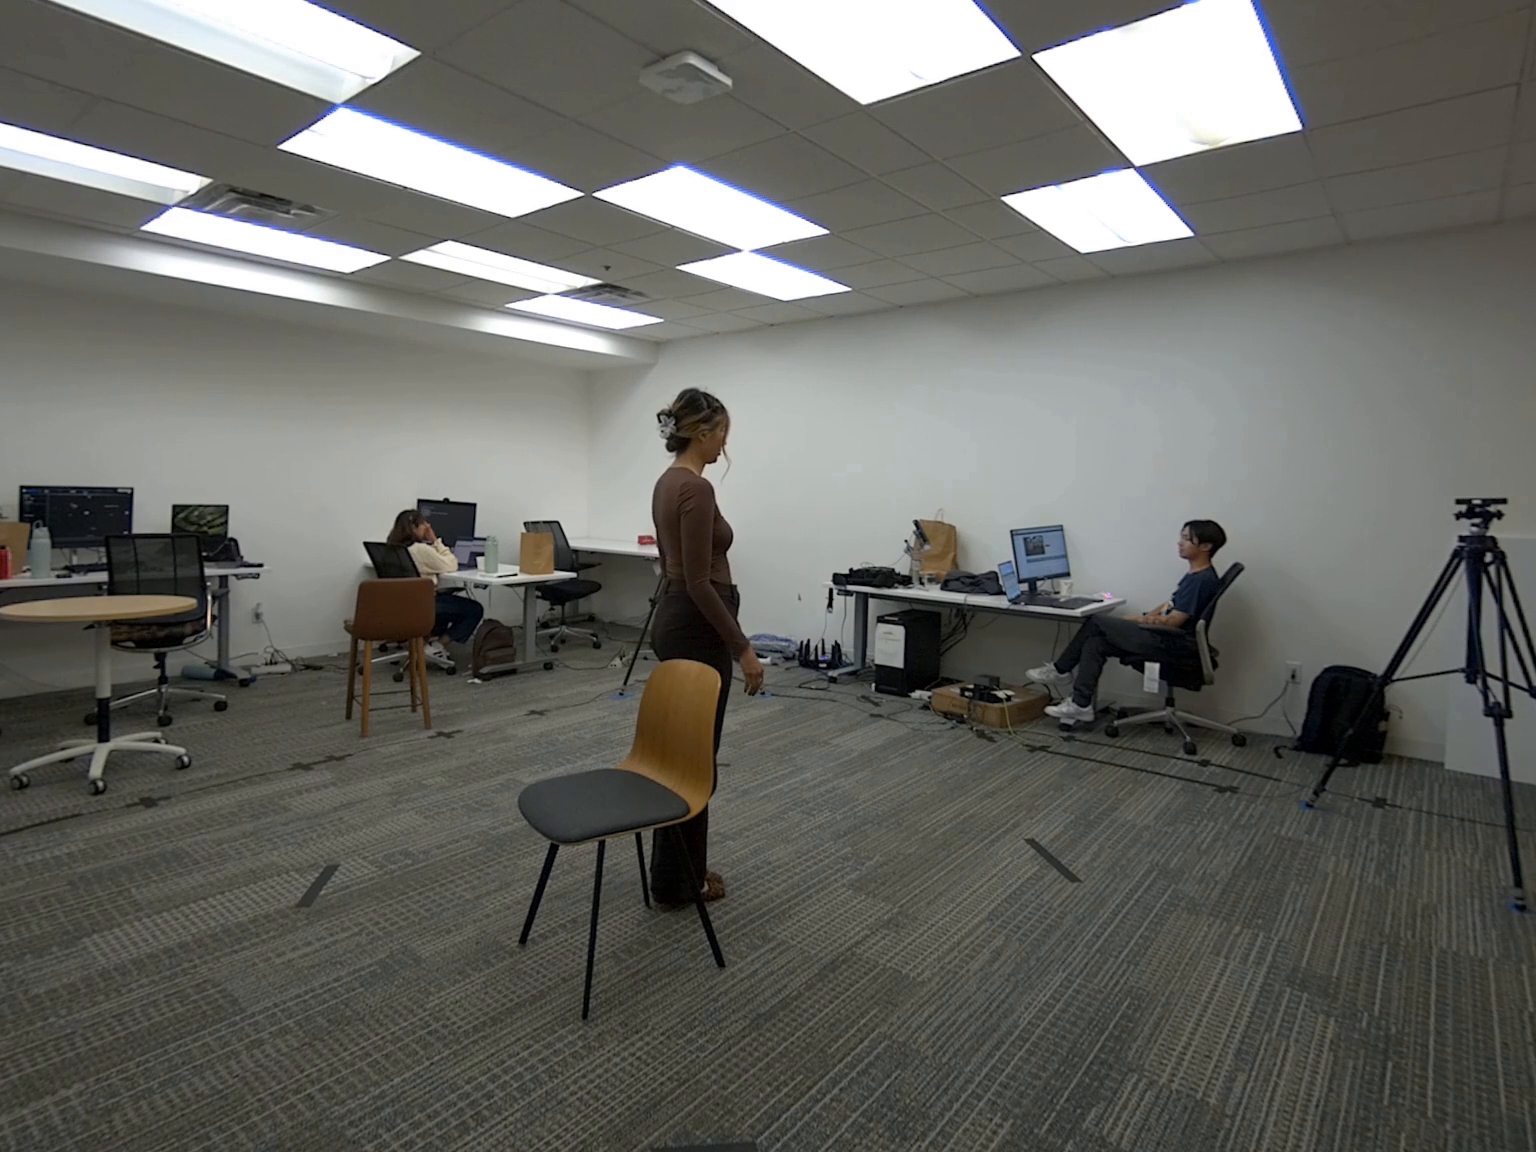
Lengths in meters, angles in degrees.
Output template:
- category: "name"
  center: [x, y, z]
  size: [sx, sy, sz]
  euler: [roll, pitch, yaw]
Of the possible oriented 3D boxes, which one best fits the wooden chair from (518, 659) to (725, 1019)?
- category: "wooden chair"
  center: [-0.441, 0.700, 2.492]
  size: [0.506, 0.877, 0.494]
  euler: [4, 1, -36]
